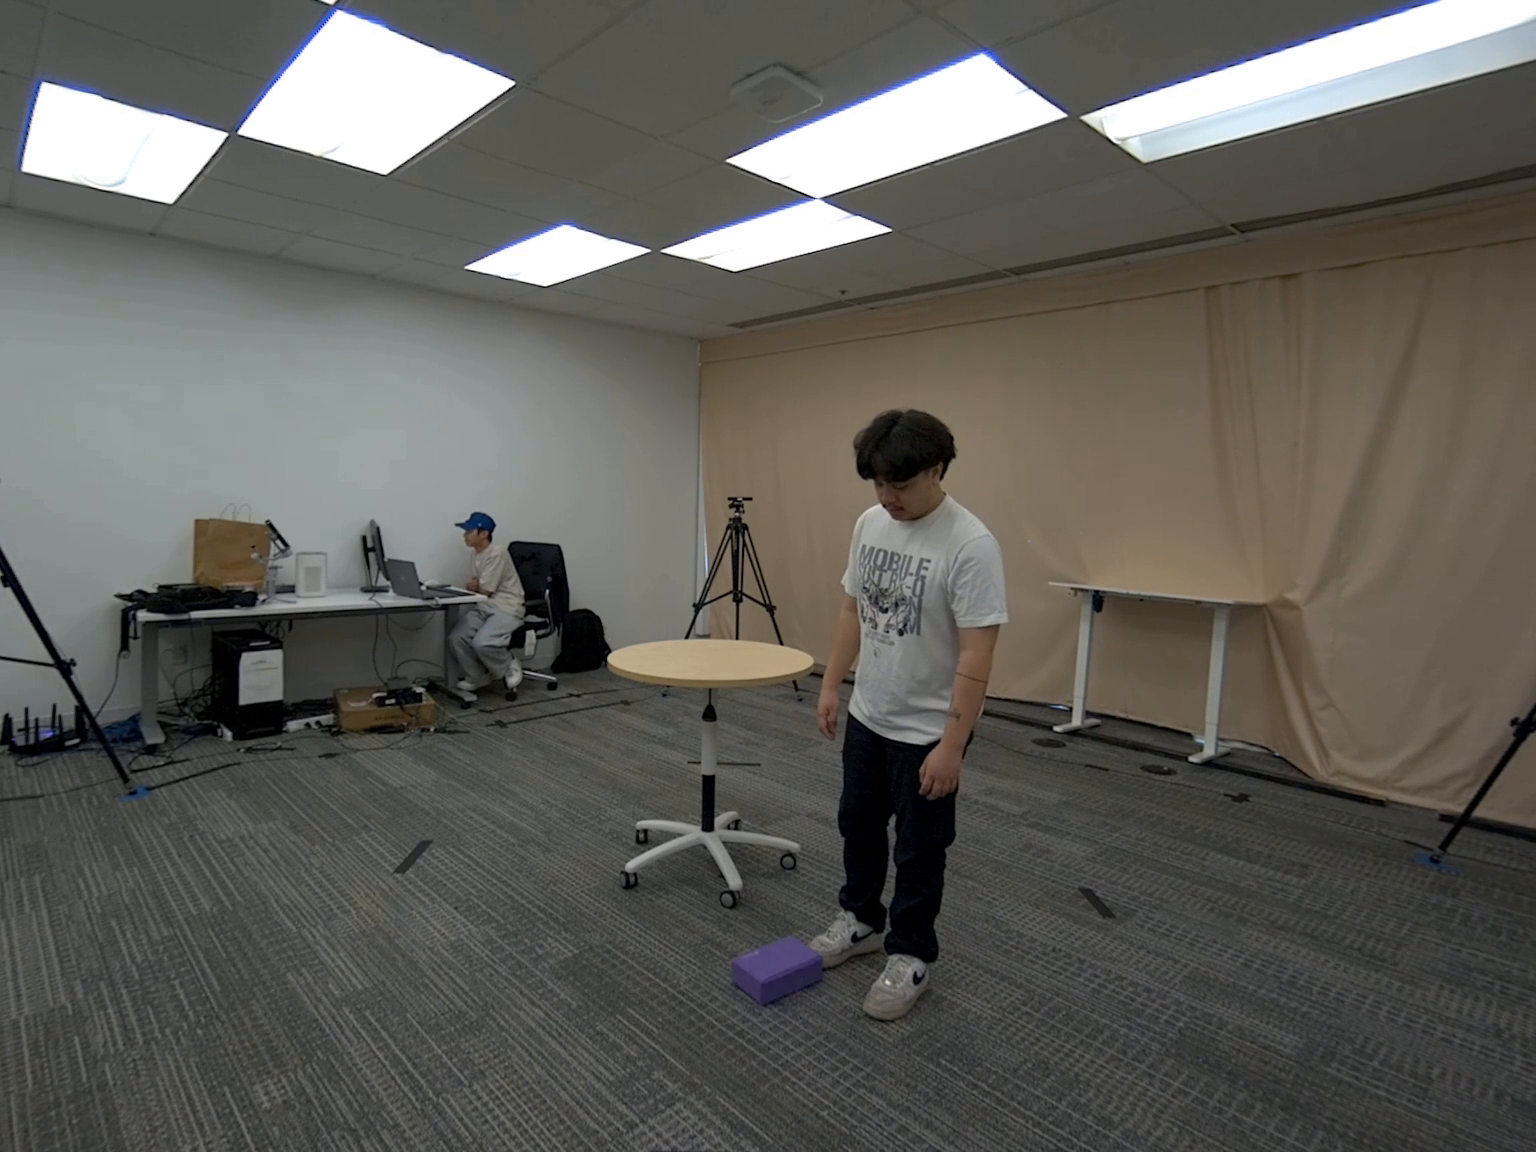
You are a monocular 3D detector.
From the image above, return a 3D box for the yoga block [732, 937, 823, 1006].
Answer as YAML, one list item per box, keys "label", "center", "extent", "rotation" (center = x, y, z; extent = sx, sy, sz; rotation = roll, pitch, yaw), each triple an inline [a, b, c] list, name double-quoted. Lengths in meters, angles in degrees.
- label: "yoga block"
  center: [0.027, 1.130, 2.430]
  extent: [0.224, 0.076, 0.153]
  rotation: [-4, 7, -39]
